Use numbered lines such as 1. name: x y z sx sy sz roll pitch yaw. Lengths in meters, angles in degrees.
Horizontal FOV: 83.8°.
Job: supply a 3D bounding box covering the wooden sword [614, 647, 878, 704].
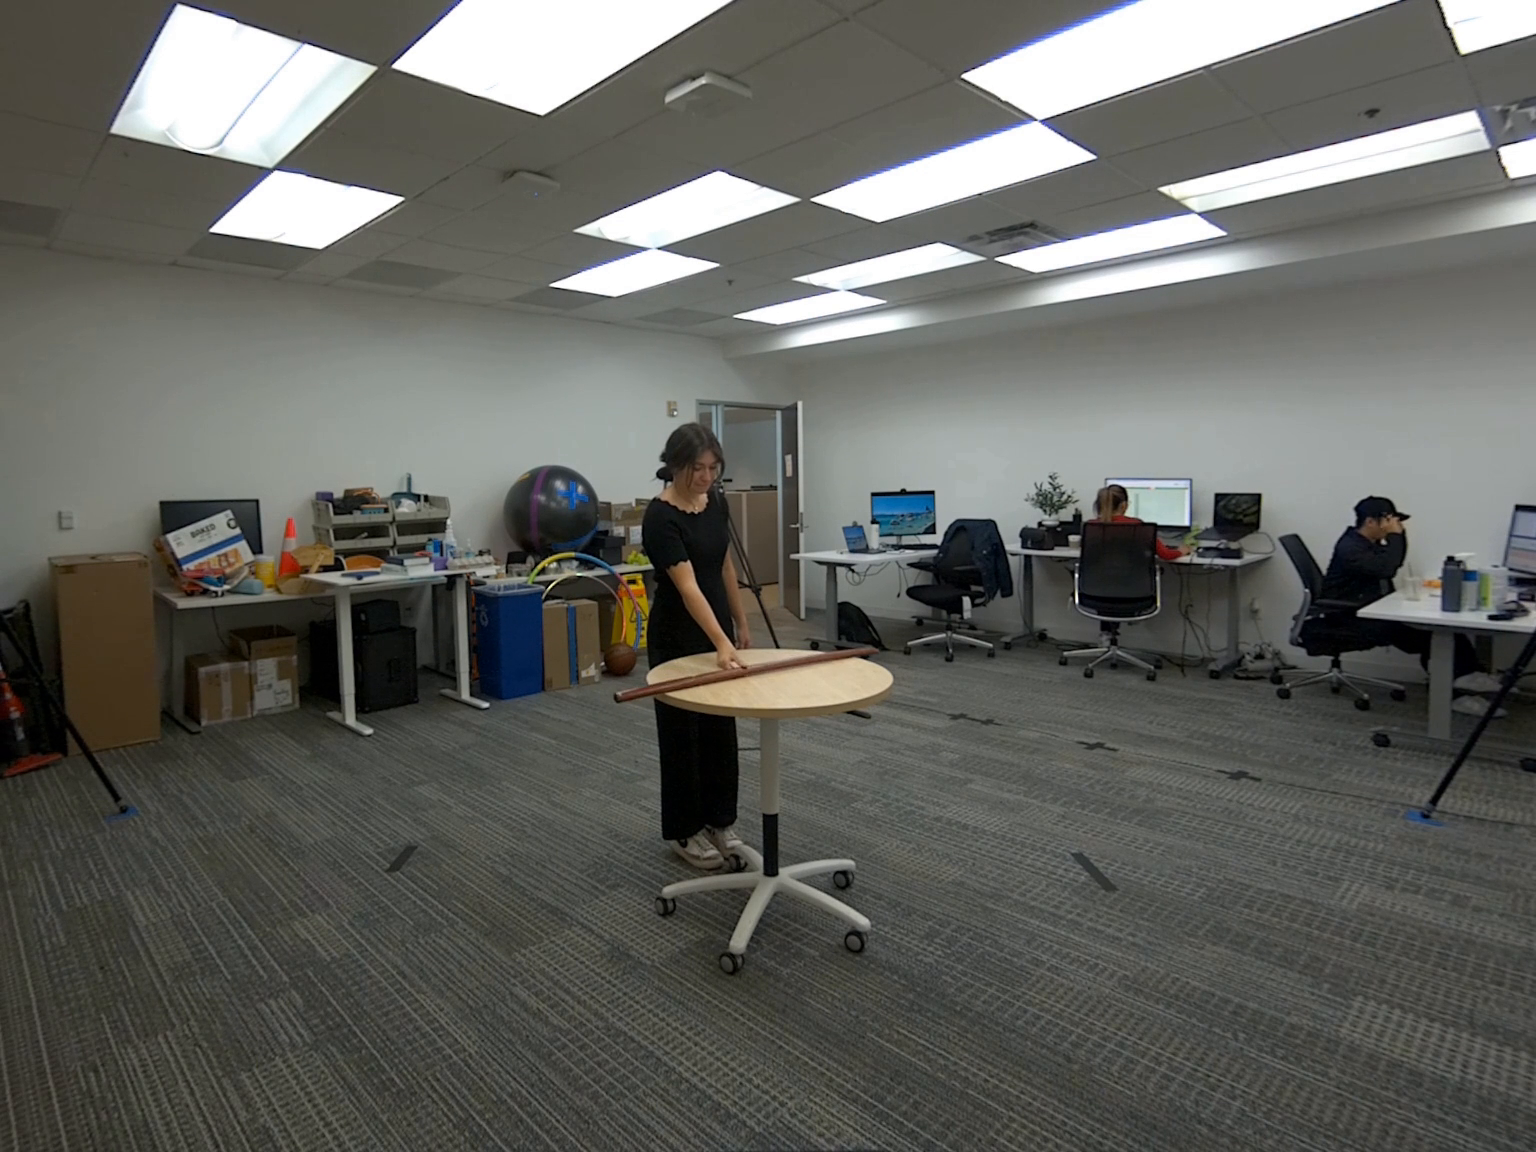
1. wooden sword: -0.045 0.301 2.667 0.998 0.024 0.053 -7 8 -40
